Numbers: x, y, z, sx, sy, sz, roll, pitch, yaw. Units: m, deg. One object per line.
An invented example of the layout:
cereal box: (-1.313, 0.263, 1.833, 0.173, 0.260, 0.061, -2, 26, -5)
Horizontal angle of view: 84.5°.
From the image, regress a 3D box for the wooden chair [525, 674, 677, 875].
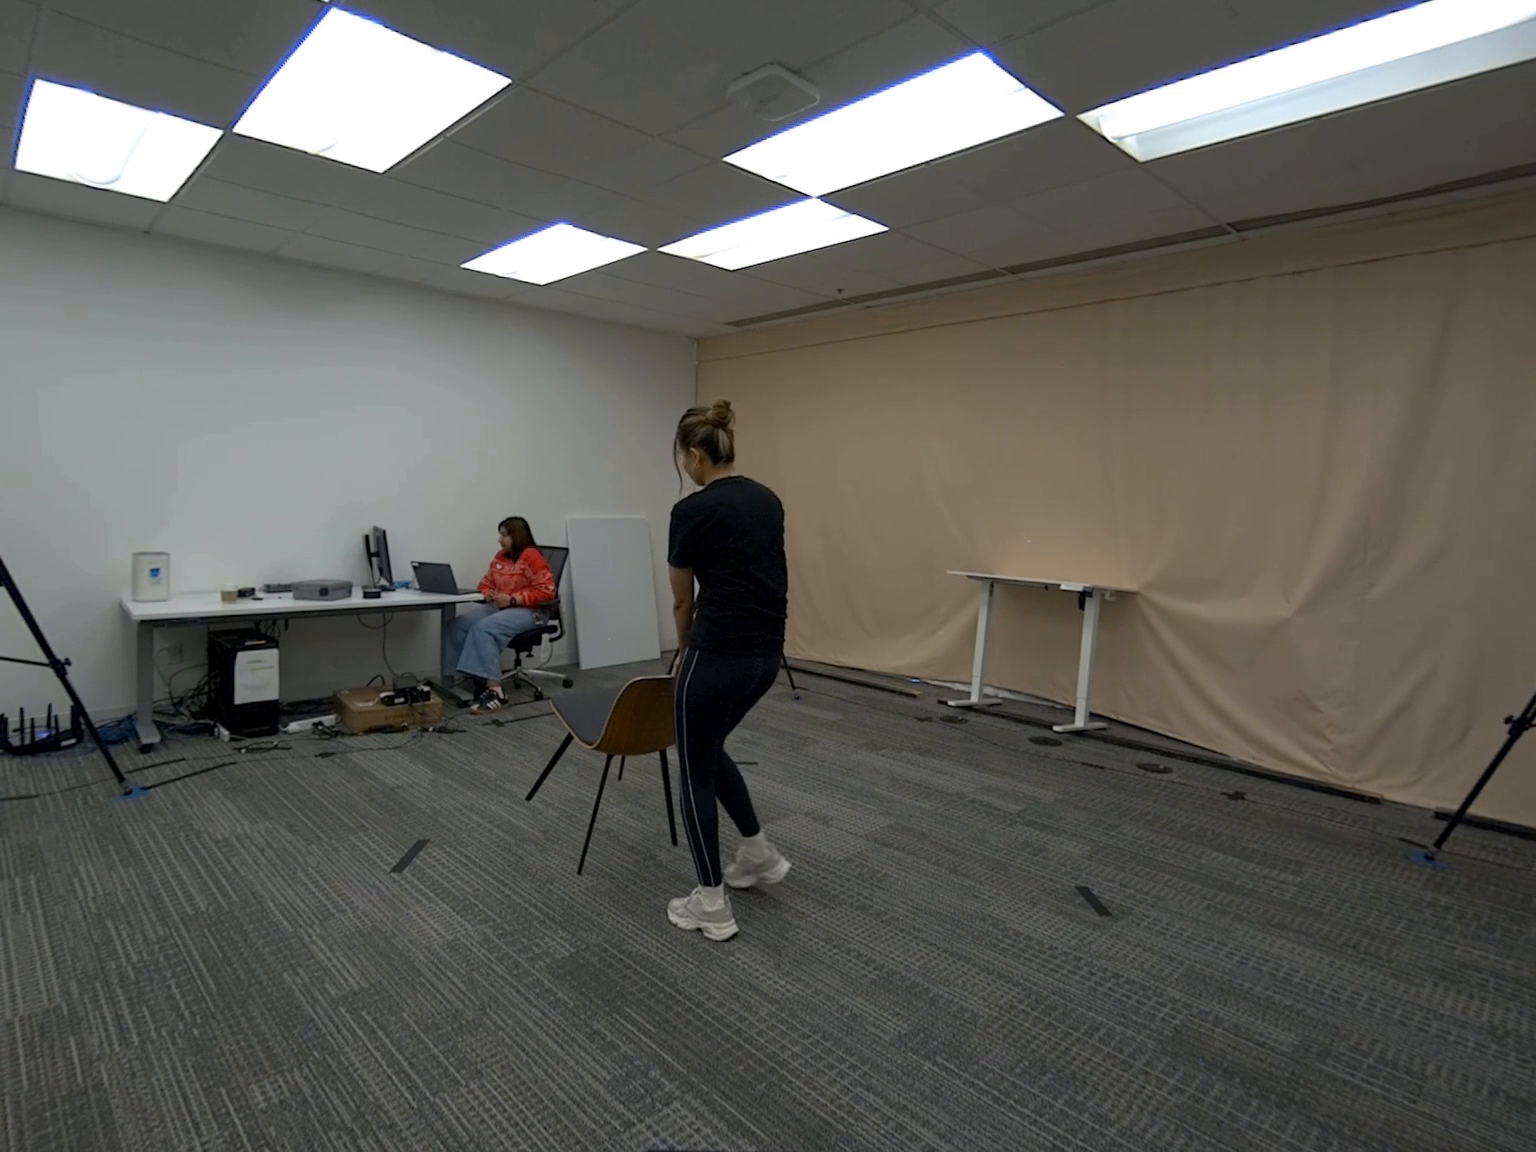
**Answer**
wooden chair: (-0.571, 0.602, 3.240, 0.467, 0.869, 0.540, -2, 29, -41)
